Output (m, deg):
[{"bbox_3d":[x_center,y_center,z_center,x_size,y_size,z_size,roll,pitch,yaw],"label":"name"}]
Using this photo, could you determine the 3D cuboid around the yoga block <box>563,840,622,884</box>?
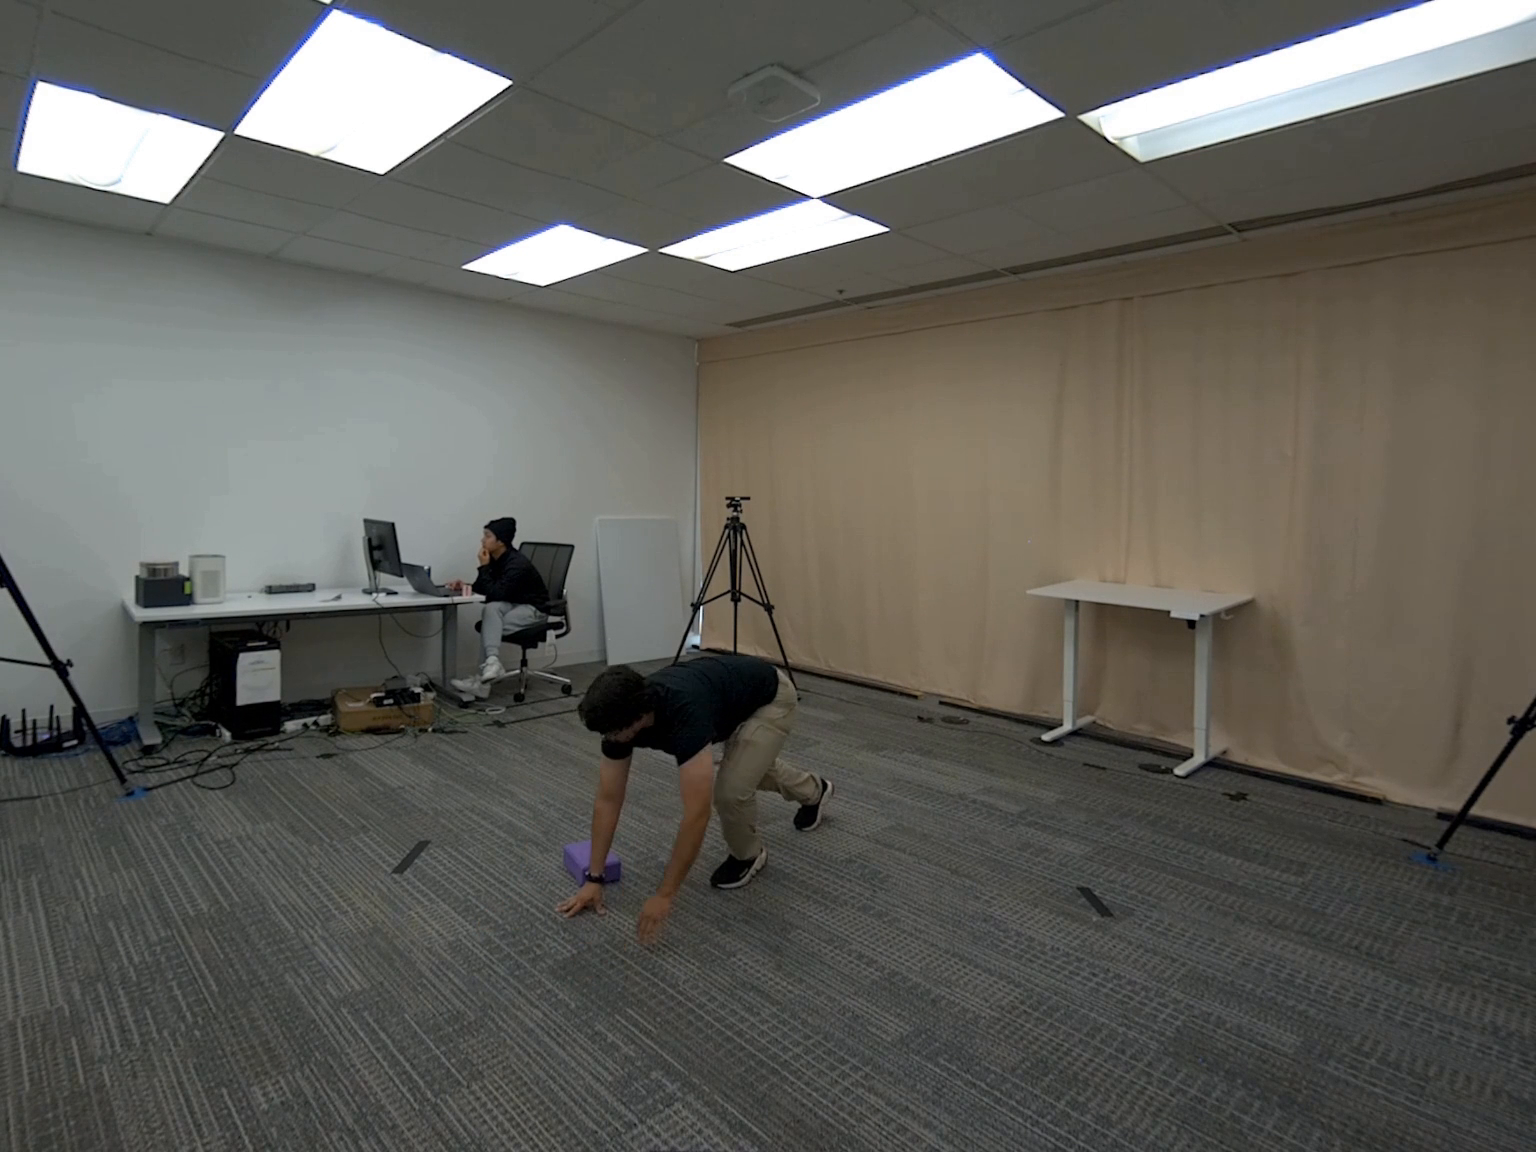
[{"bbox_3d":[-0.656,1.055,3.105,0.146,0.076,0.235,-2,6,-31],"label":"yoga block"}]
